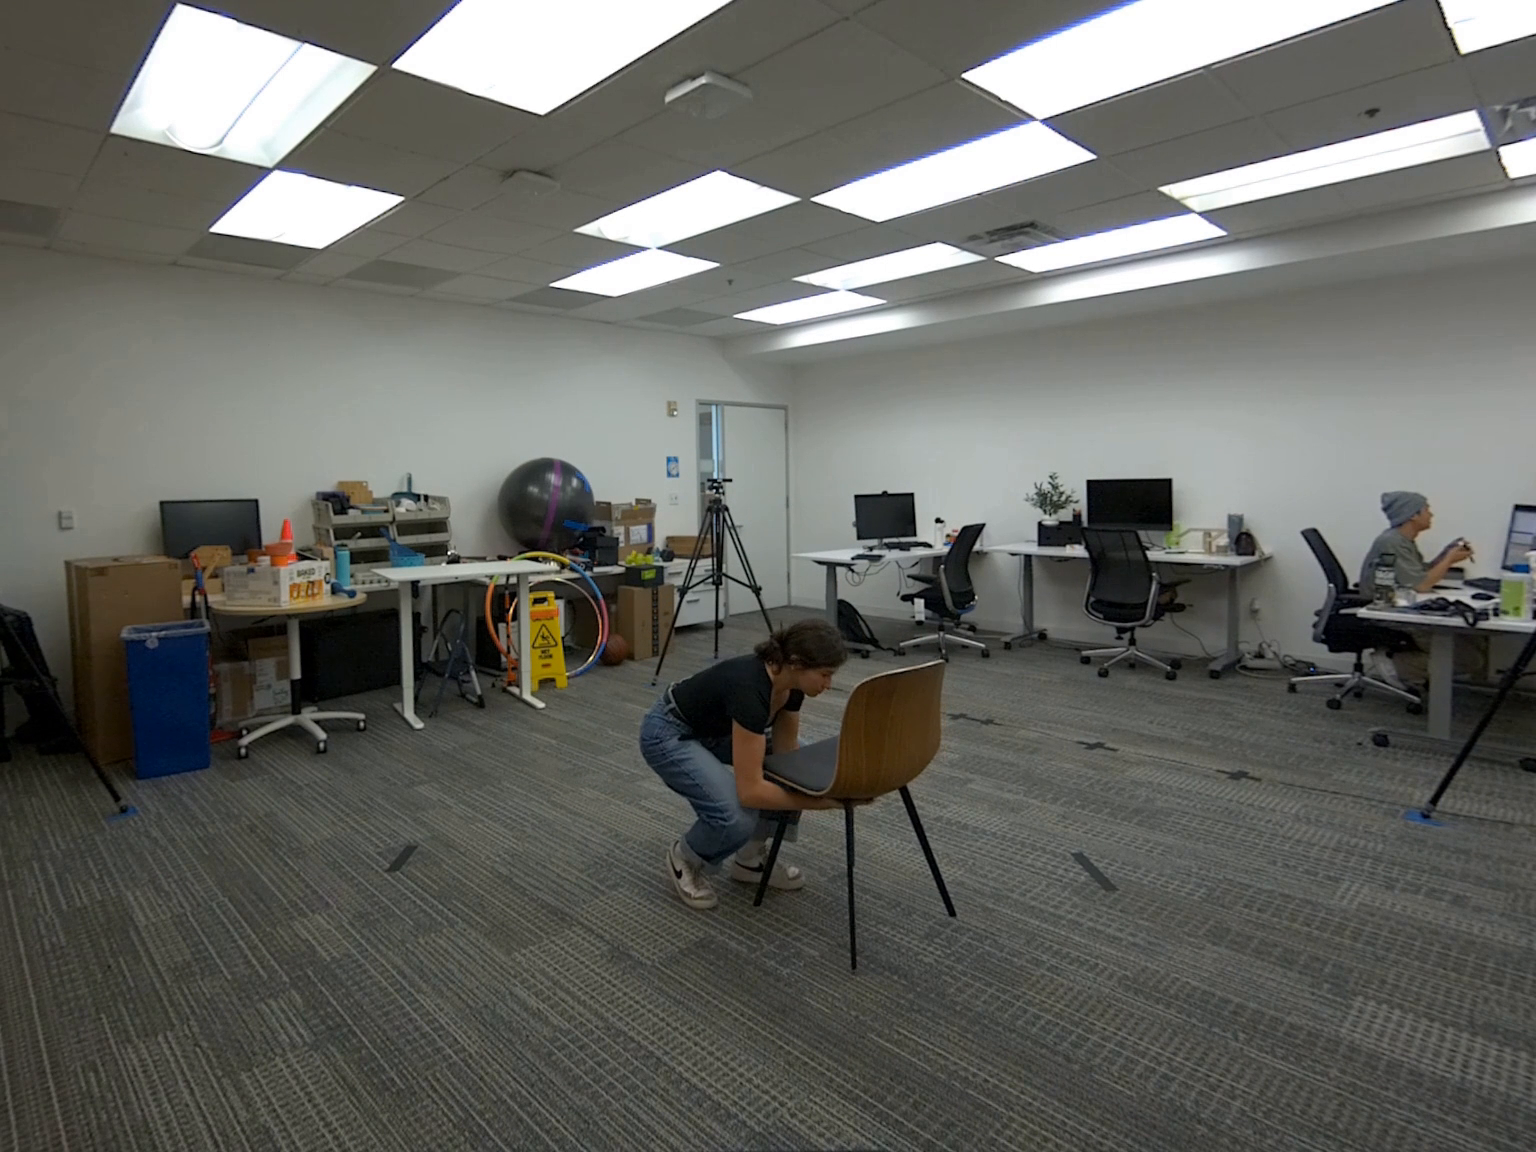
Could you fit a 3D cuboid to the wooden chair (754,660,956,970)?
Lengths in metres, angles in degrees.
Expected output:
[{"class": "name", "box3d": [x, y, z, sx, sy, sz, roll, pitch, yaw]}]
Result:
[{"class": "wooden chair", "box3d": [0.254, 0.637, 2.673, 0.466, 0.870, 0.540, -7, 11, -38]}]
